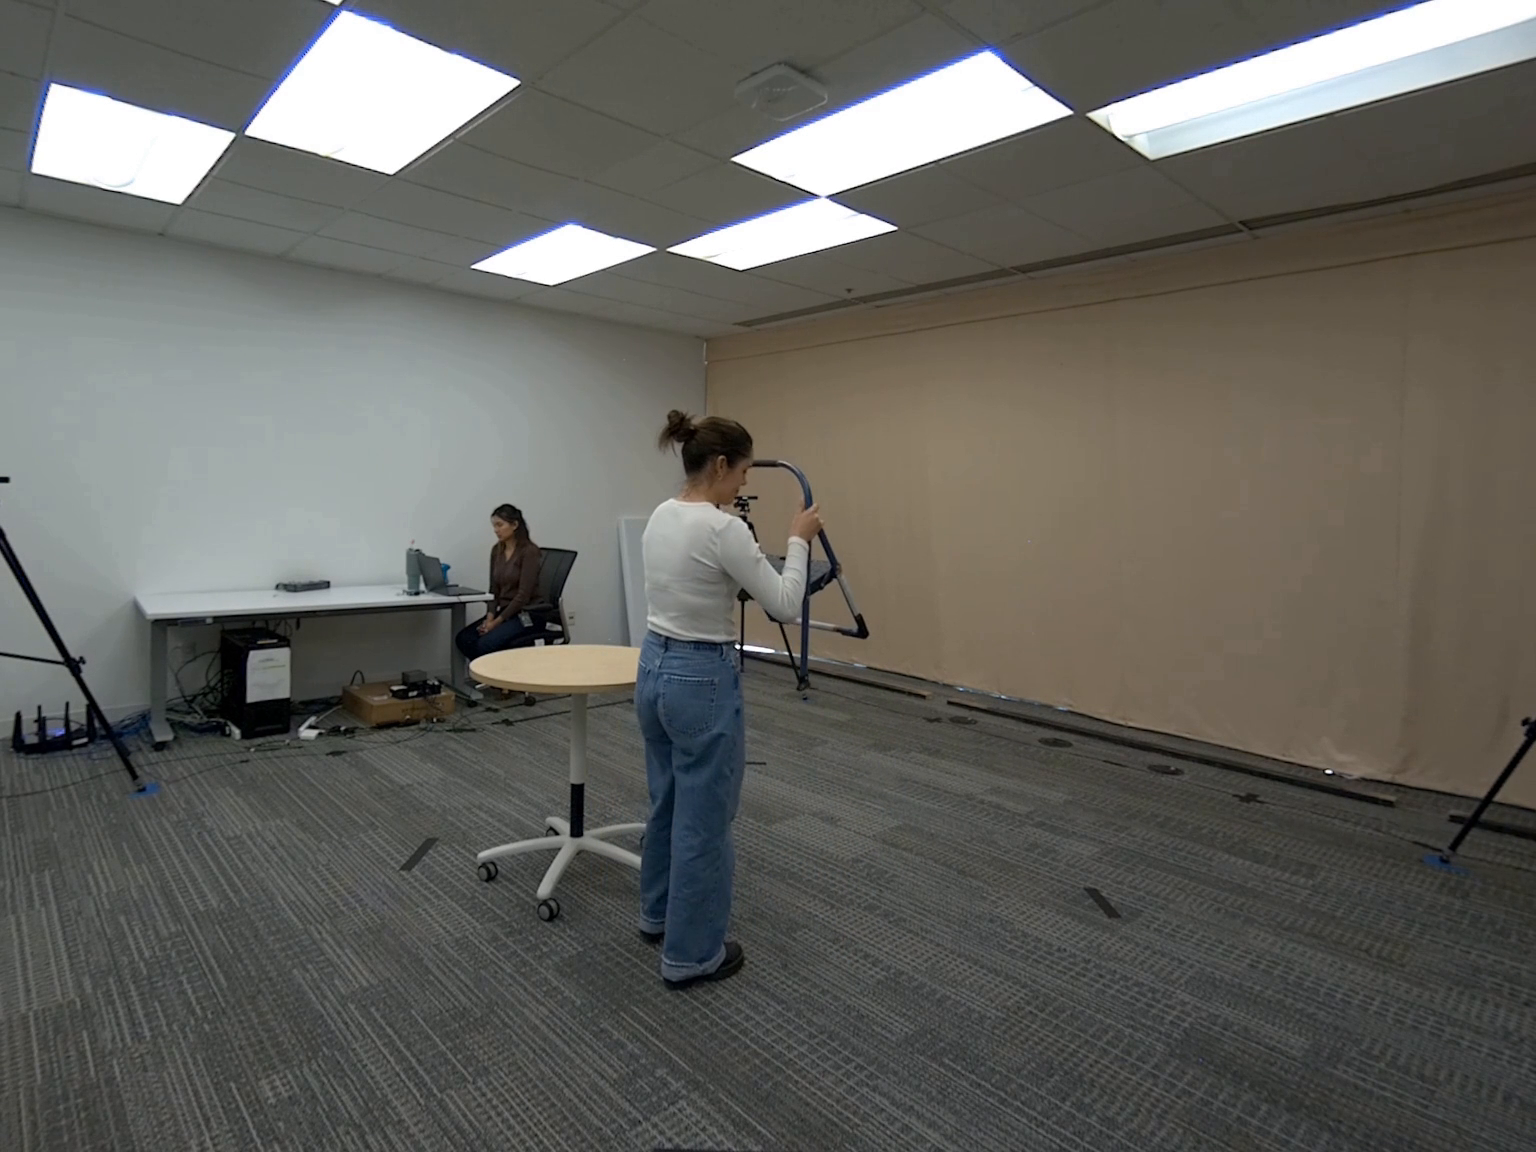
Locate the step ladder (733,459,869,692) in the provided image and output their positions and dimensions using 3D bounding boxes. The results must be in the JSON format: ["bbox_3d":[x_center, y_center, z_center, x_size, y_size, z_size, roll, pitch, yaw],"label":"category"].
[{"bbox_3d":[-0.011,-0.038,2.565,0.442,0.597,0.345,7,25,43],"label":"step ladder"}]
